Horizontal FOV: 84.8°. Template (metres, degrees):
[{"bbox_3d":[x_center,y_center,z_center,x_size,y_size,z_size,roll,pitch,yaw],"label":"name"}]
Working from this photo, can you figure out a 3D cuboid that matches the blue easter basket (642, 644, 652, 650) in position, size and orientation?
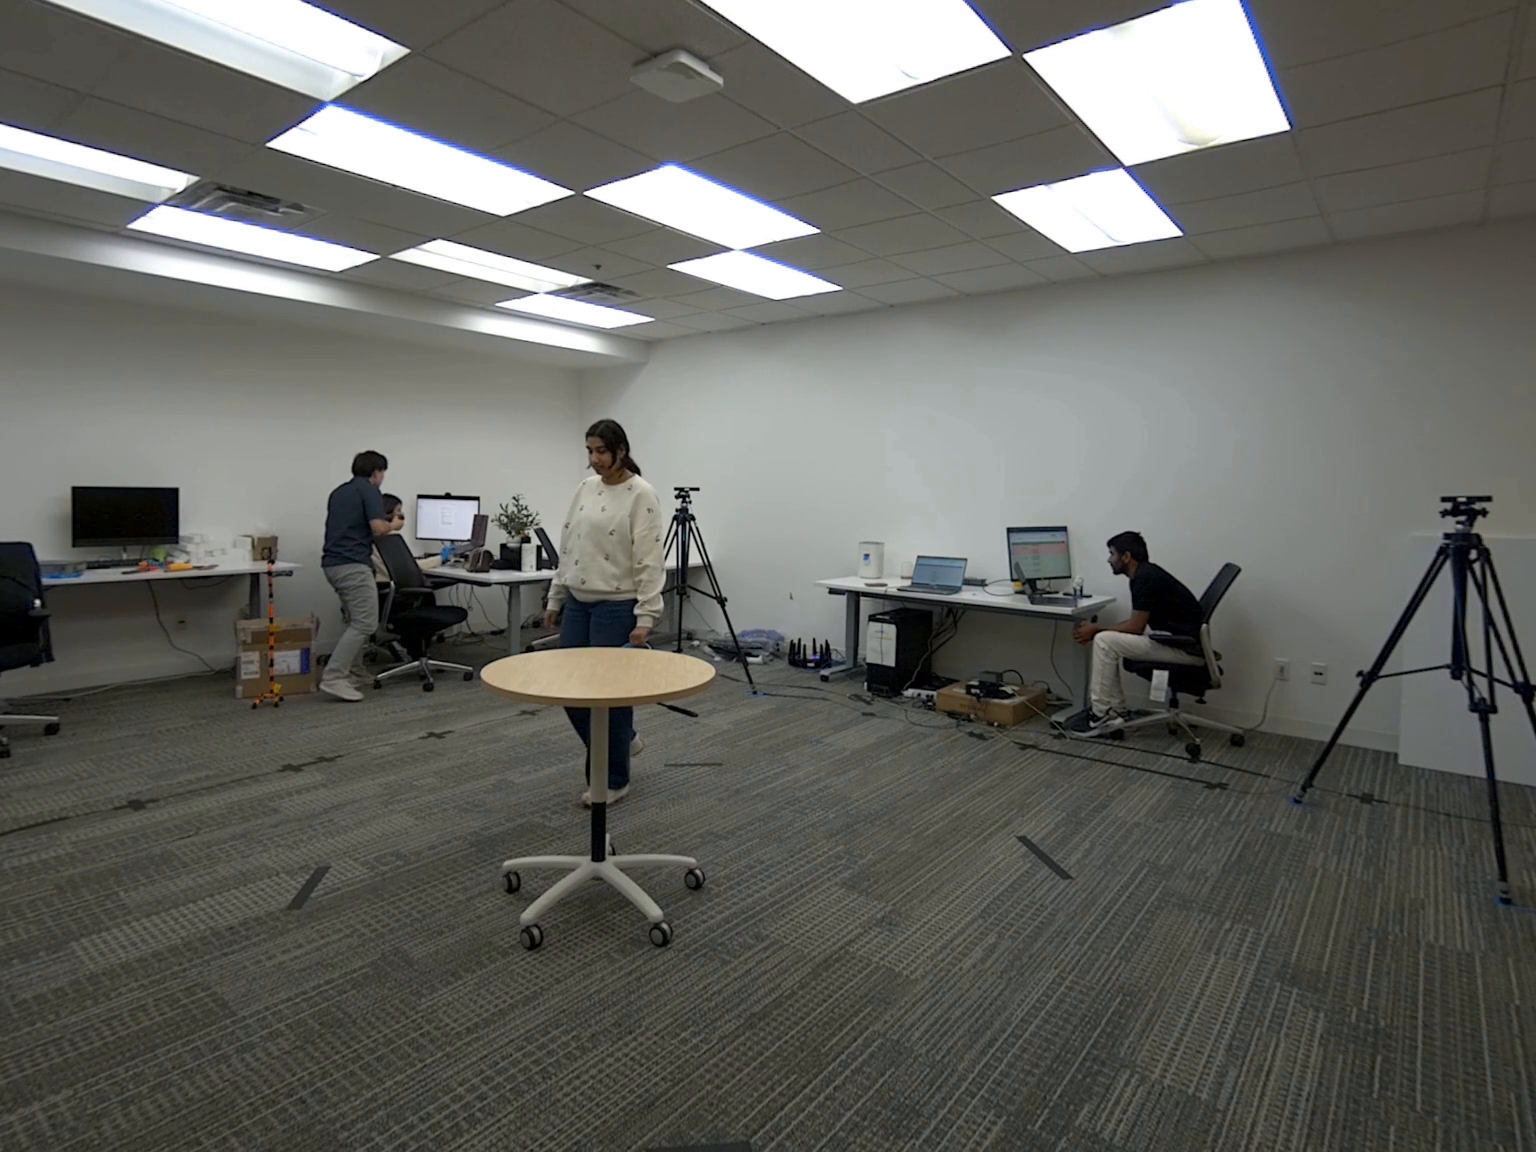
[{"bbox_3d":[-0.560,0.417,3.533,0.246,0.150,0.251,-20,38,14],"label":"blue easter basket"}]
